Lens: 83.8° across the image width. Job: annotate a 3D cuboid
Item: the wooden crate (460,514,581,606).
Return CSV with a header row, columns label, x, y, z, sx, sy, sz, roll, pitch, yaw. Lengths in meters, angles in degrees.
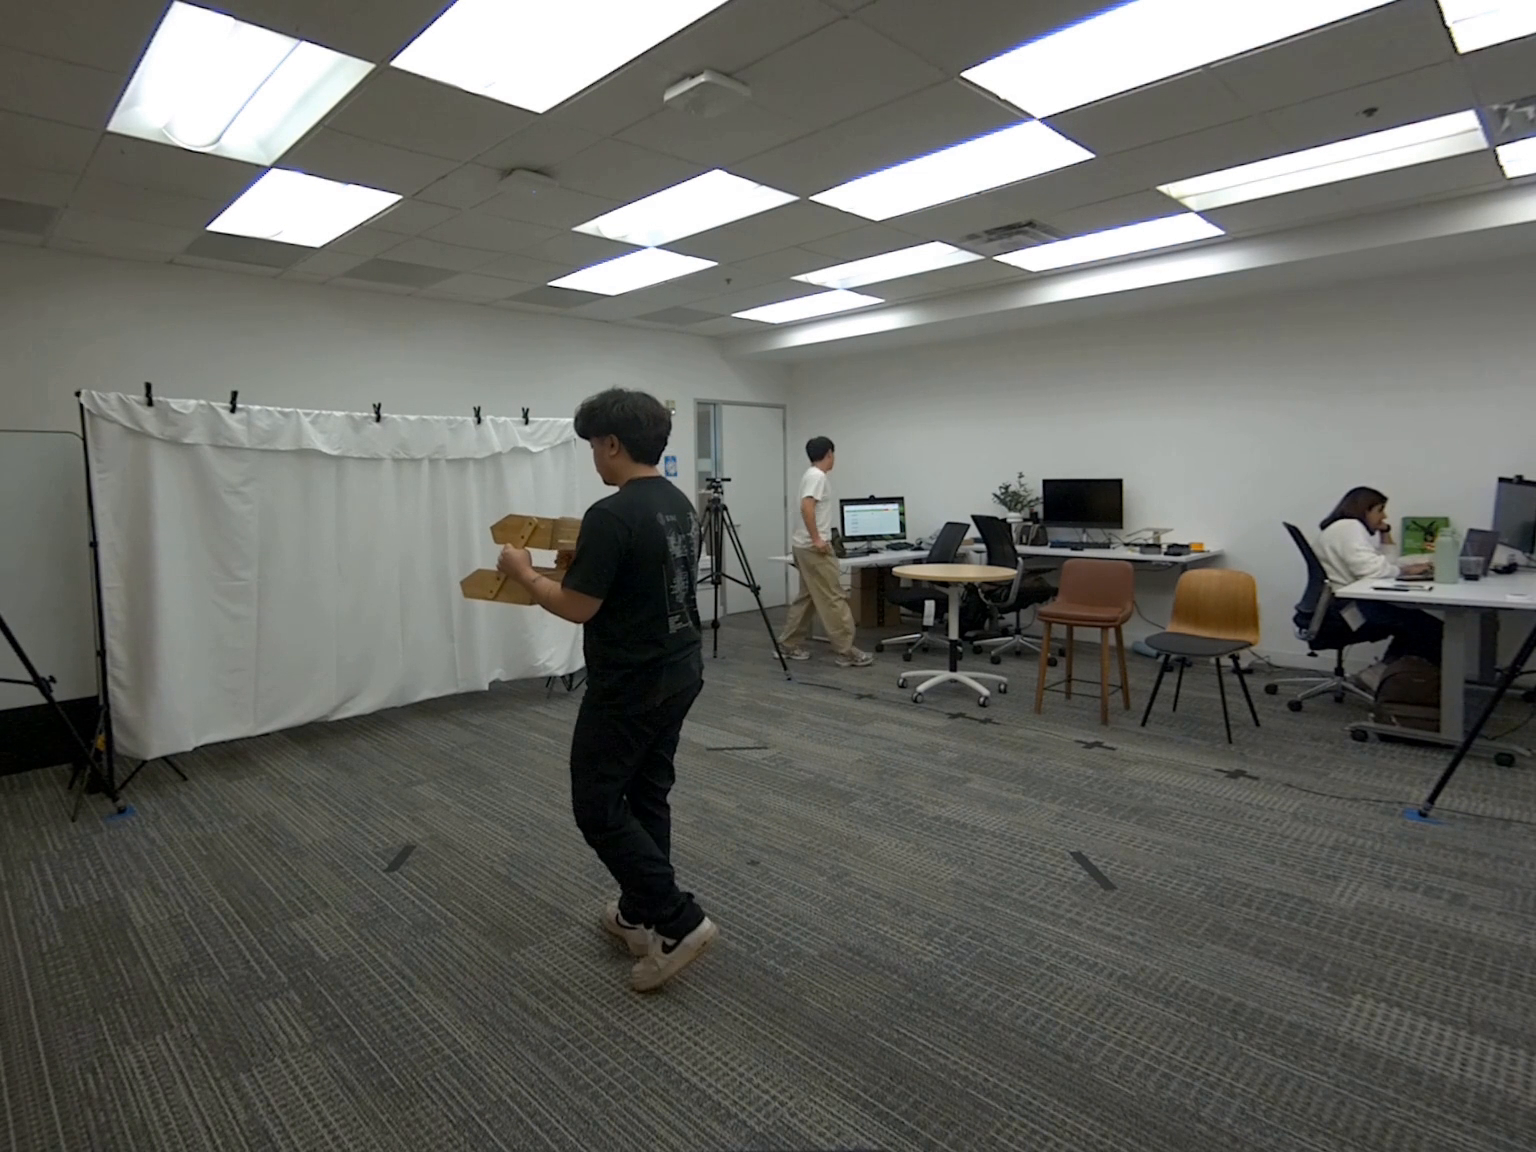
label,x,y,z,sx,sy,sz,roll,pitch,yaw
wooden crate,-0.726,-0.064,2.633,0.308,0.272,0.319,6,4,17
